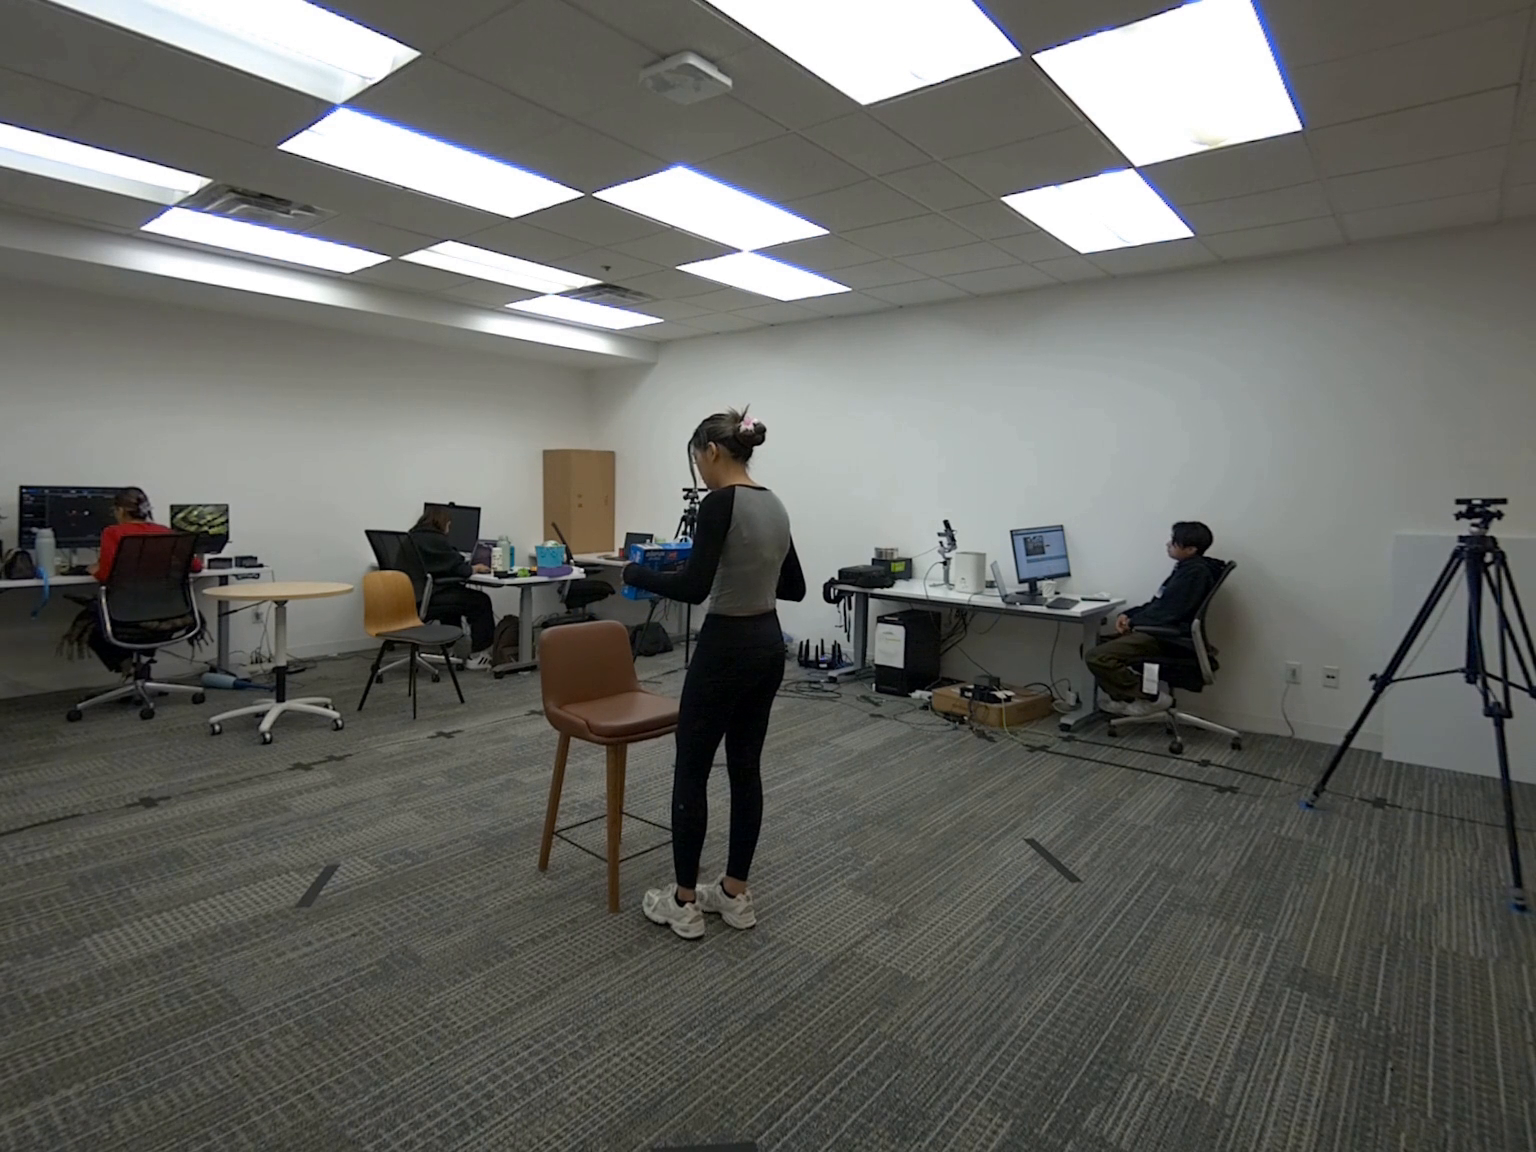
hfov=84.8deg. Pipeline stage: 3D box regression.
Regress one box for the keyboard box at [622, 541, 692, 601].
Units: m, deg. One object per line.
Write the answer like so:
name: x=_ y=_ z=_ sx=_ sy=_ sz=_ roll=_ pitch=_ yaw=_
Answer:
keyboard box: x=-0.315 y=-0.023 z=2.876 sx=0.061 sy=0.174 sz=0.424 roll=18 pitch=13 yaw=34
